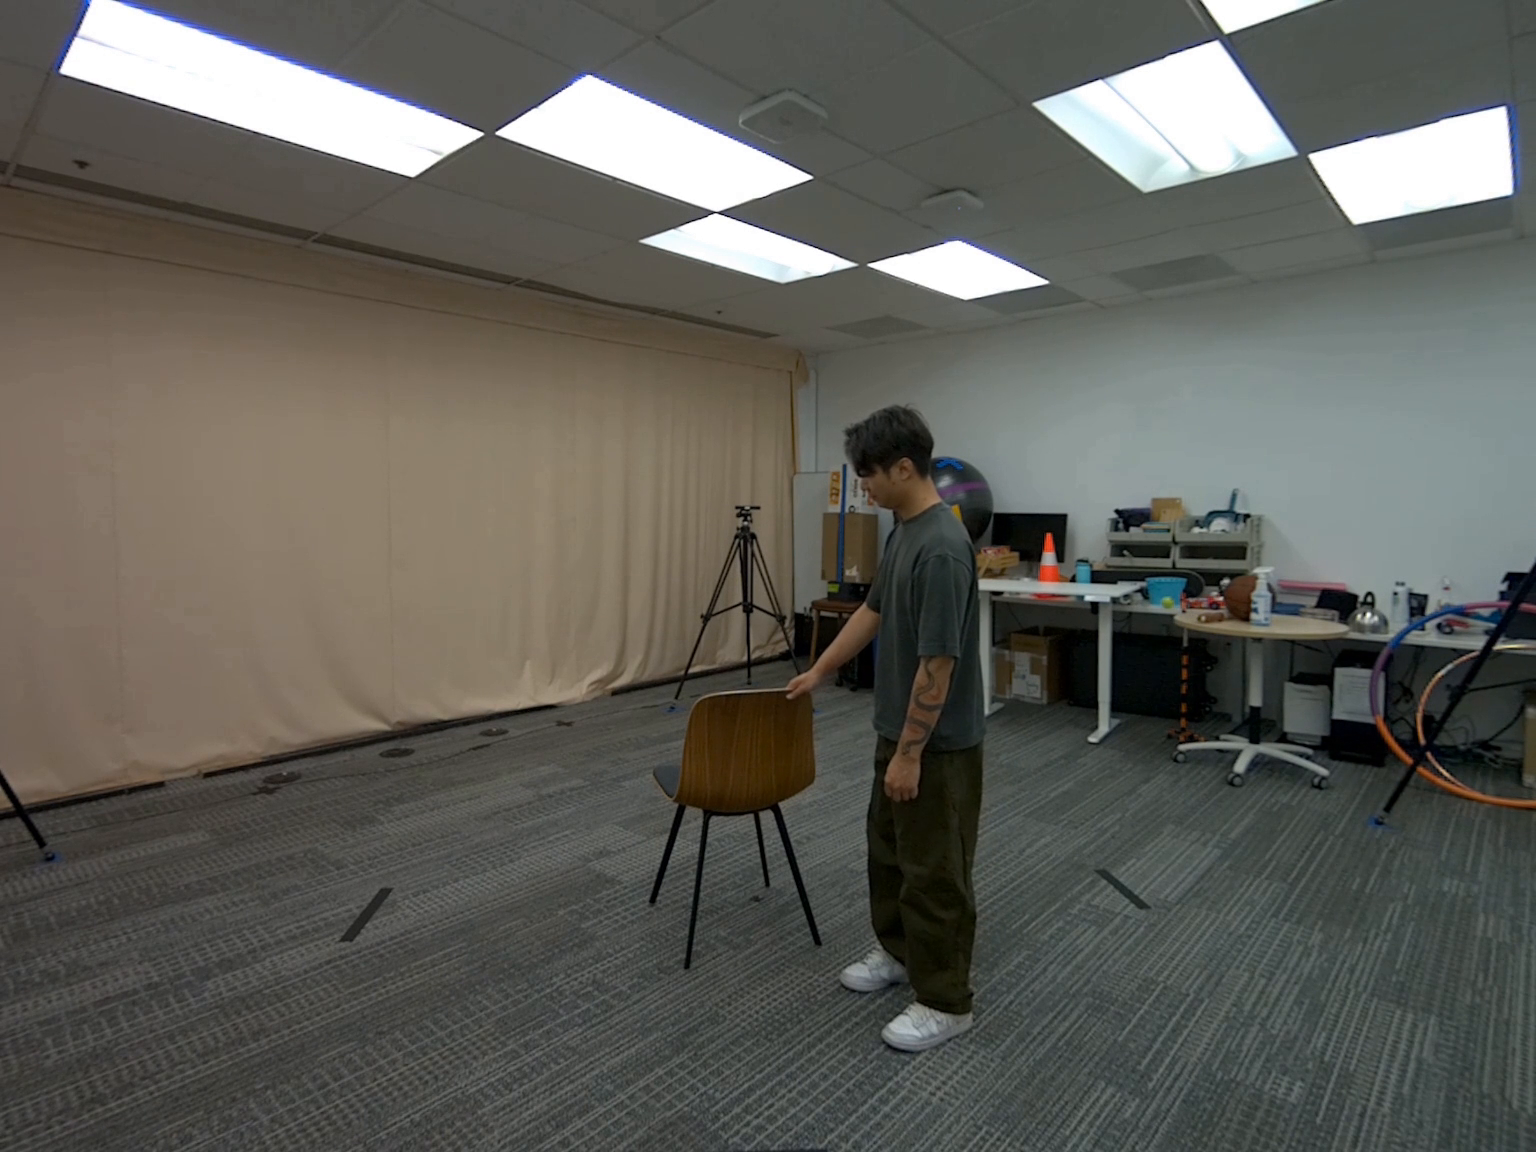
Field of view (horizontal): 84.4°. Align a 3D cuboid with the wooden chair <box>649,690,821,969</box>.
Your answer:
[{"bbox_3d":[-0.122,0.733,2.788,0.469,0.873,0.536,-2,8,-20],"label":"wooden chair"}]
